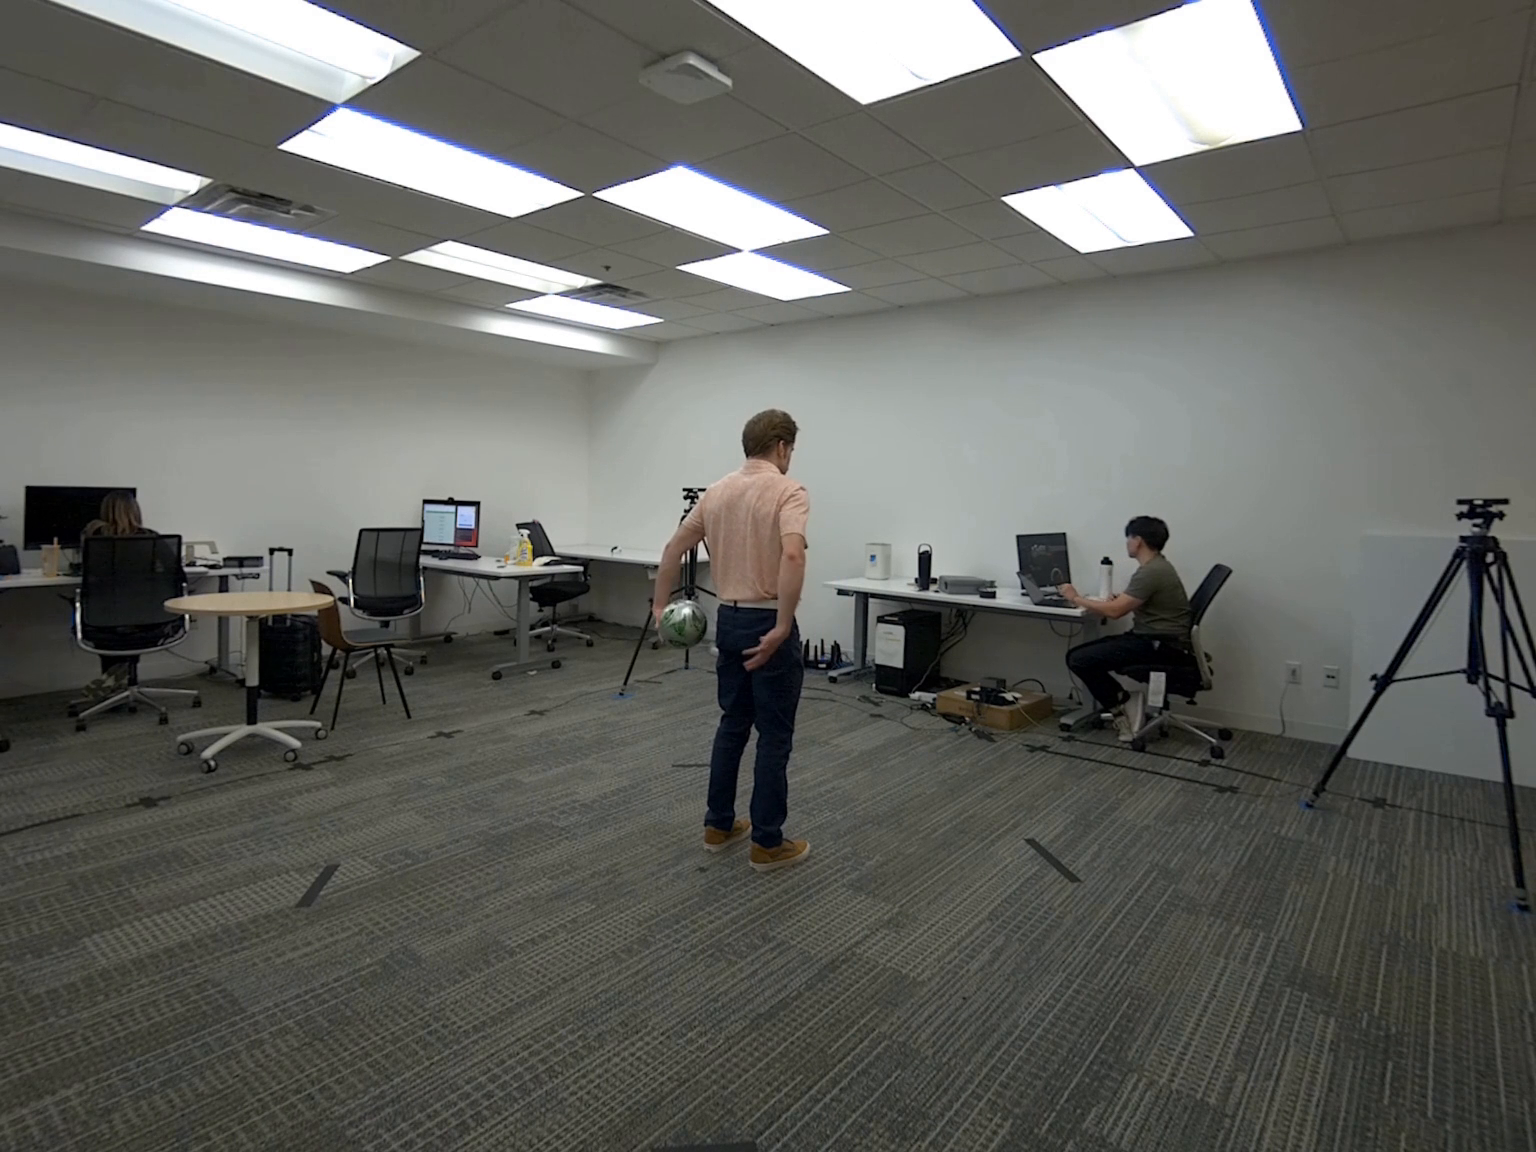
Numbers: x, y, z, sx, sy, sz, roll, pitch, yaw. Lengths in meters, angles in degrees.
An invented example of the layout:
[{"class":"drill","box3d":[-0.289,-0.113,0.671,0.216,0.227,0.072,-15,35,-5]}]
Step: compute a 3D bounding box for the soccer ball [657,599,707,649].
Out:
[{"class":"soccer ball","box3d":[-0.321,0.176,3.228,0.187,0.187,0.188,1,4,-2]}]
